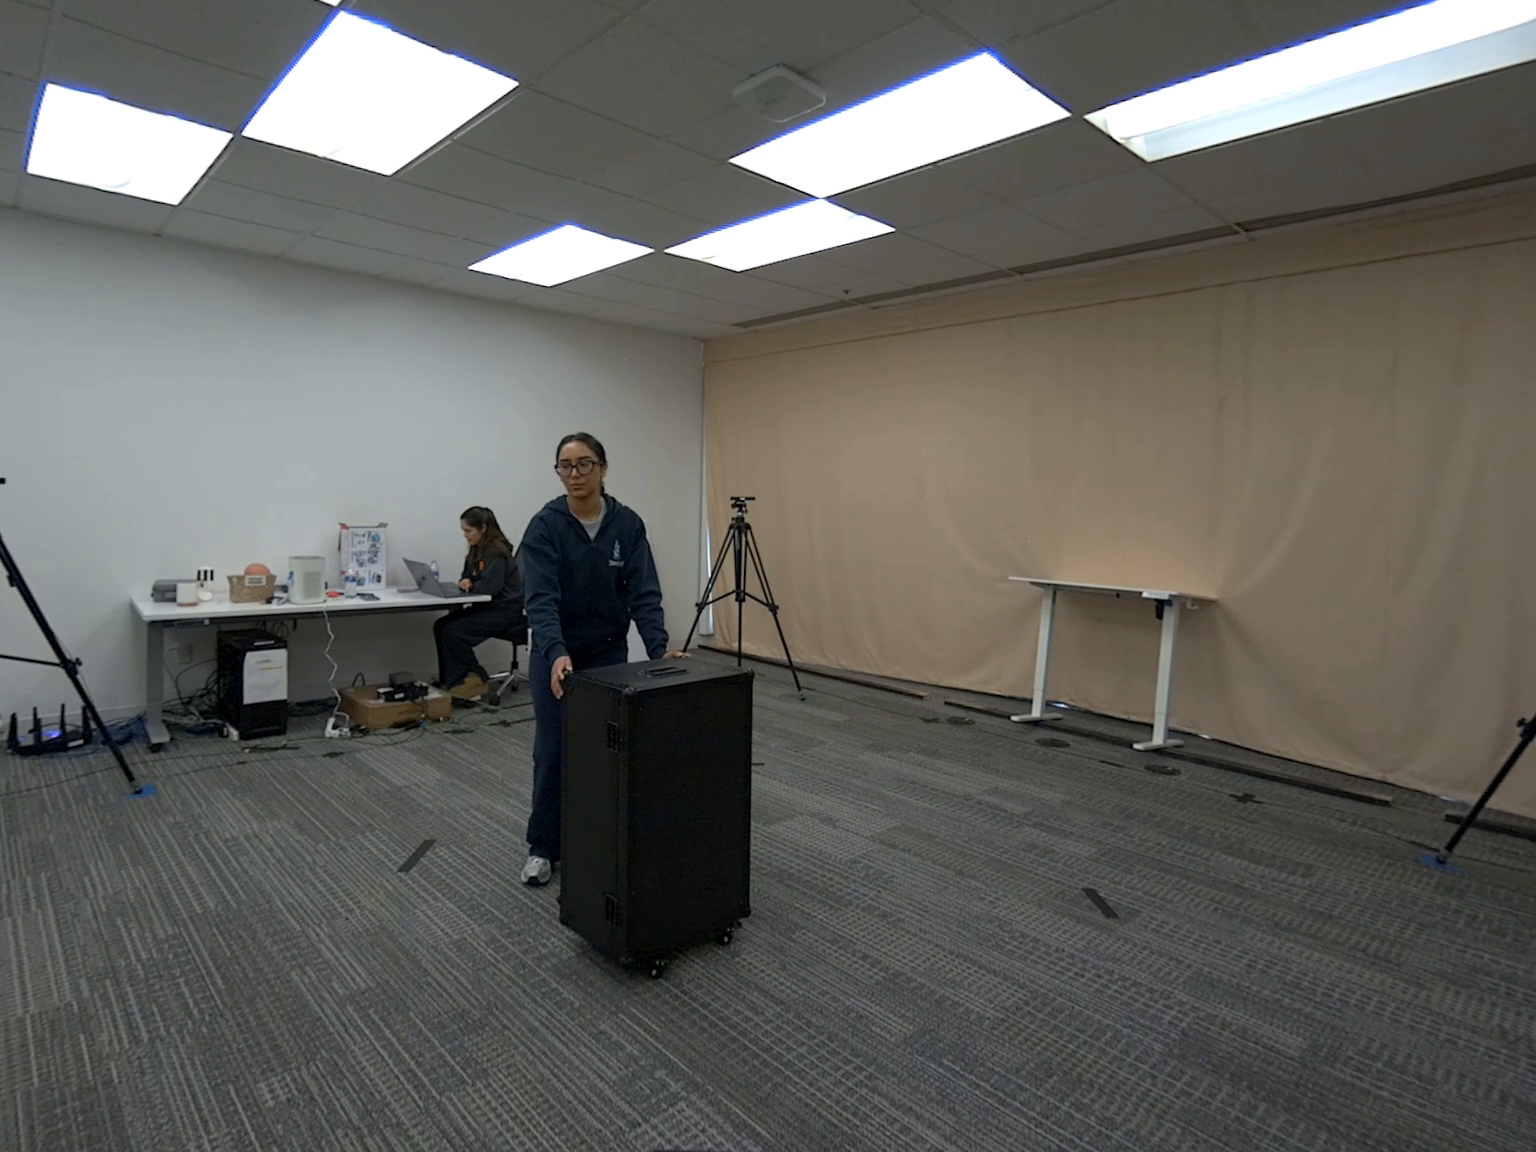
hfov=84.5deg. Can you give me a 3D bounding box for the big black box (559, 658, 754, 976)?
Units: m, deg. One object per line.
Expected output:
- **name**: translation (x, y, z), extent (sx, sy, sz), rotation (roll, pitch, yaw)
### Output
- **big black box**: translation (-0.355, 0.722, 2.618), extent (0.509, 0.860, 0.406), rotation (-2, 3, -44)
